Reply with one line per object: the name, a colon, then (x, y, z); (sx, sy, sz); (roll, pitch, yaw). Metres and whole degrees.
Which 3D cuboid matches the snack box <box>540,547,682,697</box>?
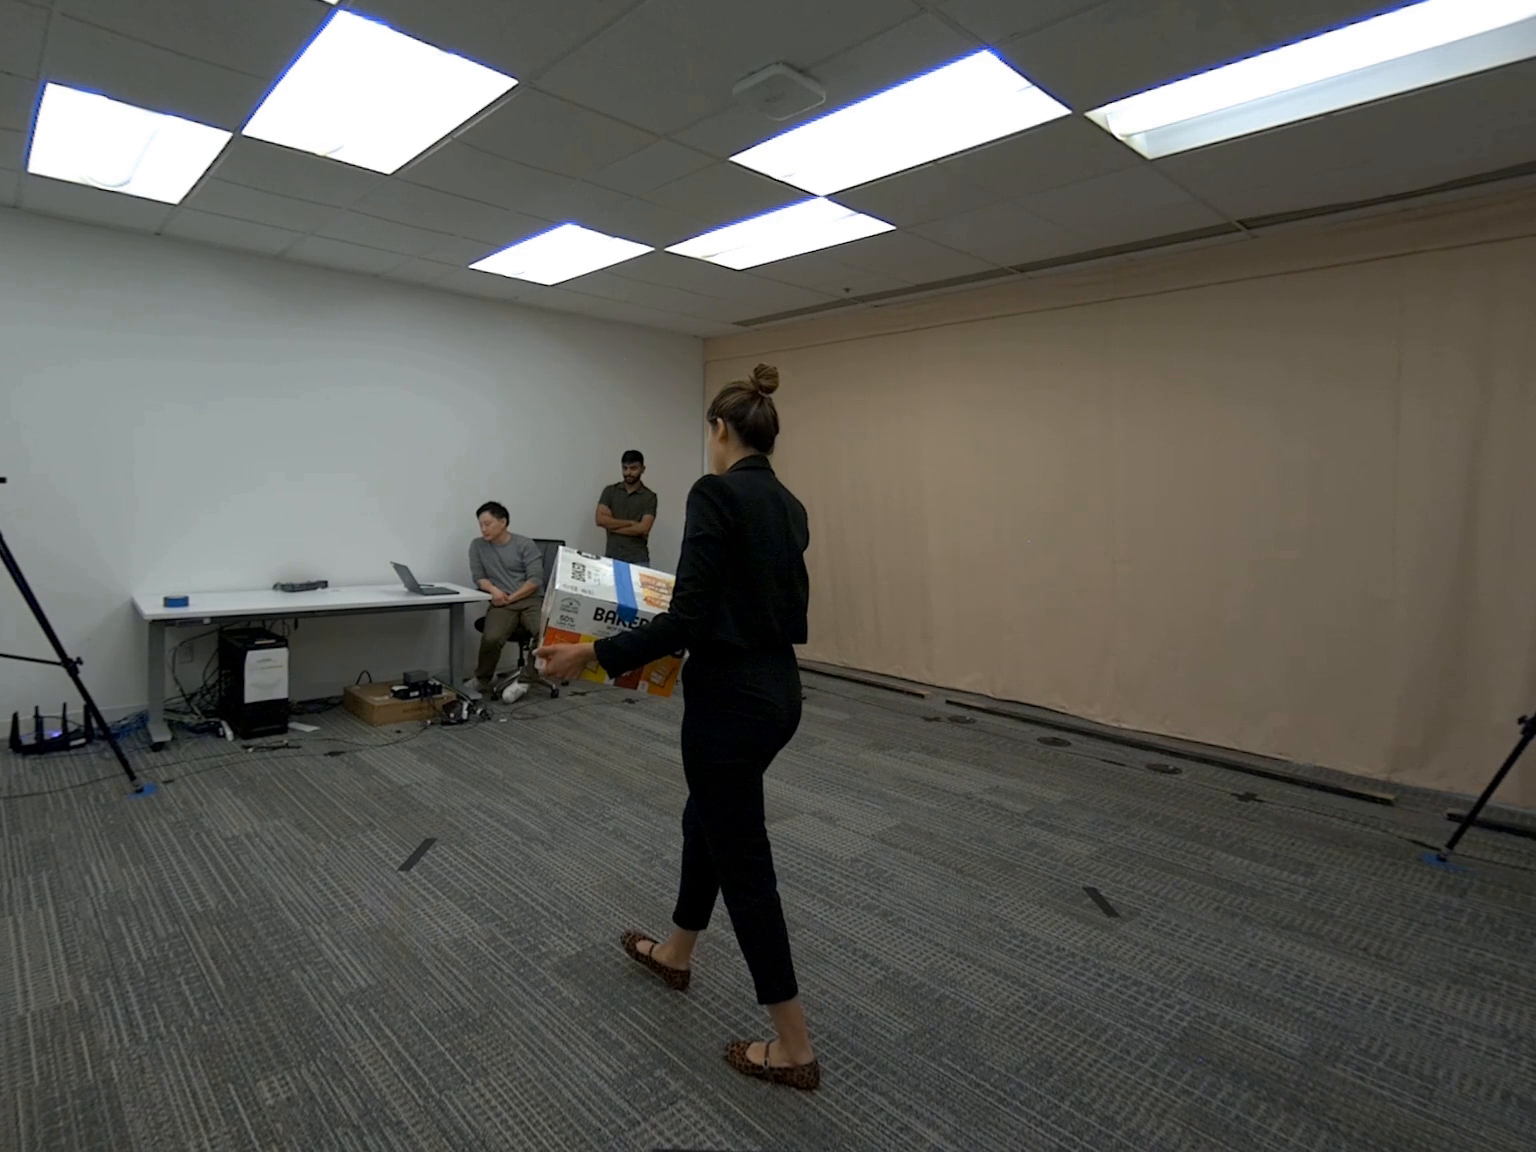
snack box: (-0.413, 0.109, 2.199); (0.335, 0.204, 0.413); (15, 13, -16)
